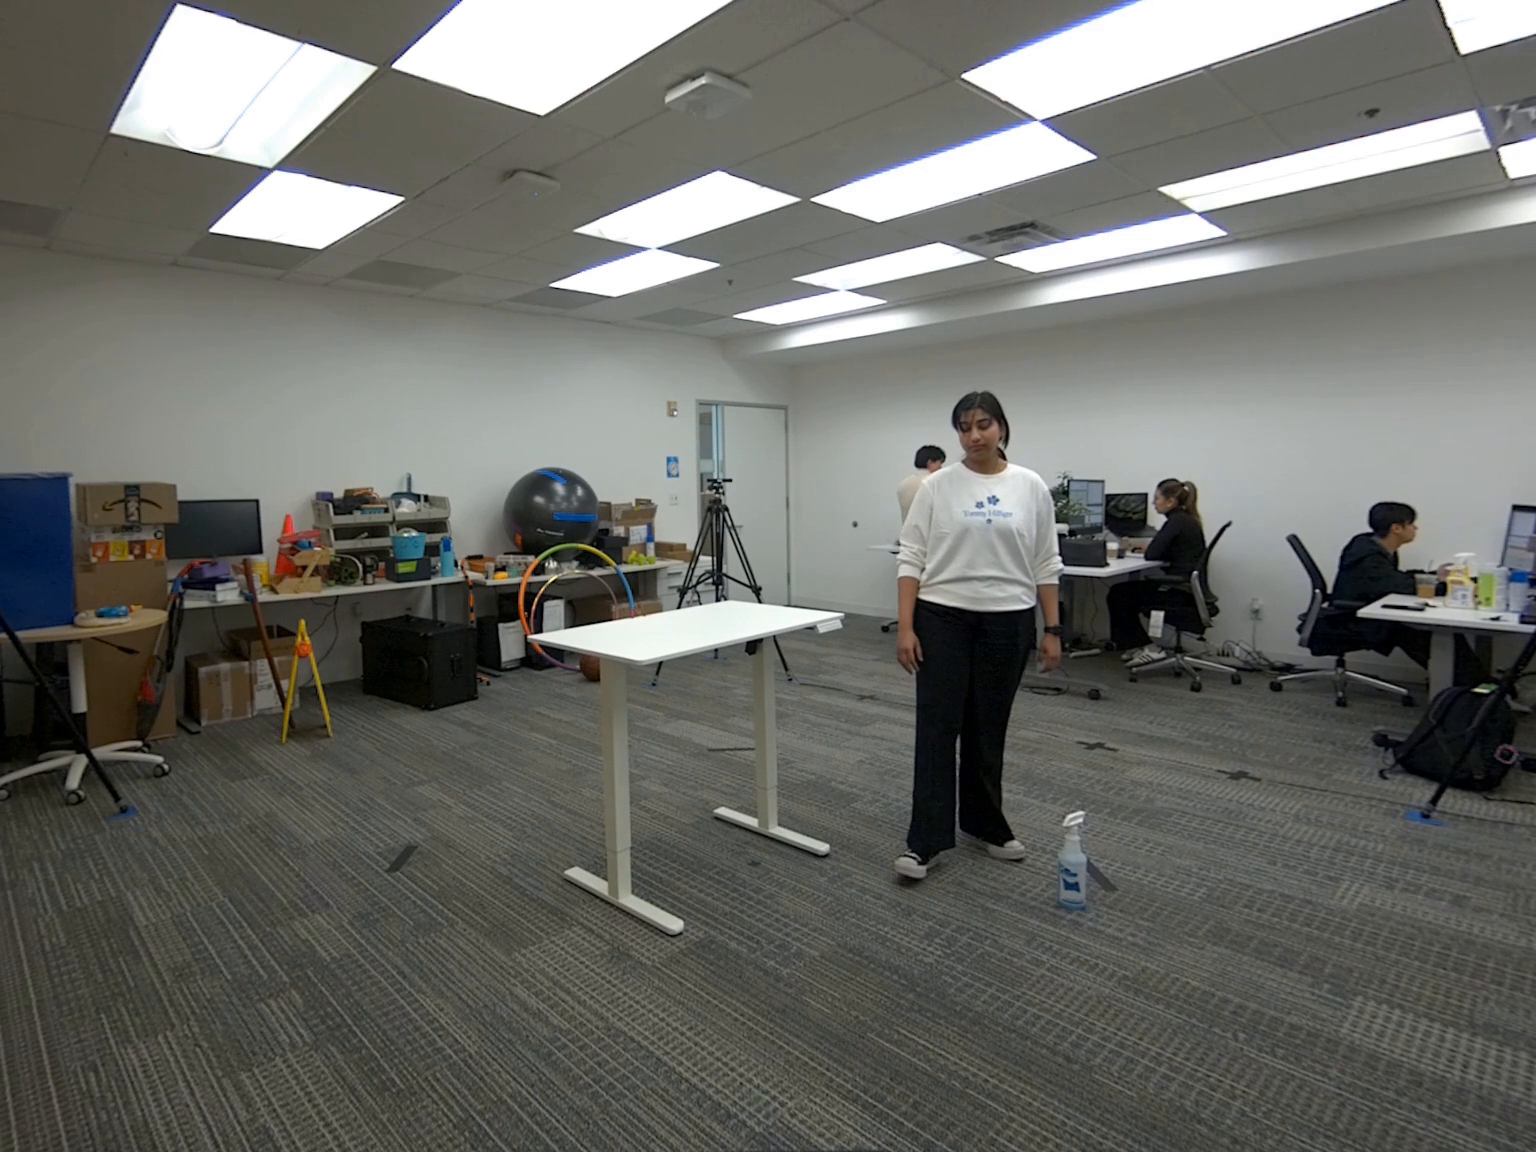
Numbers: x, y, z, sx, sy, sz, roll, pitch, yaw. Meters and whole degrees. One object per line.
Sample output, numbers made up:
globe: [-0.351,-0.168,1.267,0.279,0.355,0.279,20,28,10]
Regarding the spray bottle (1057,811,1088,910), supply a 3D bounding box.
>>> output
spray bottle: [0.995,0.924,2.774,0.090,0.297,0.087,0,3,-3]
